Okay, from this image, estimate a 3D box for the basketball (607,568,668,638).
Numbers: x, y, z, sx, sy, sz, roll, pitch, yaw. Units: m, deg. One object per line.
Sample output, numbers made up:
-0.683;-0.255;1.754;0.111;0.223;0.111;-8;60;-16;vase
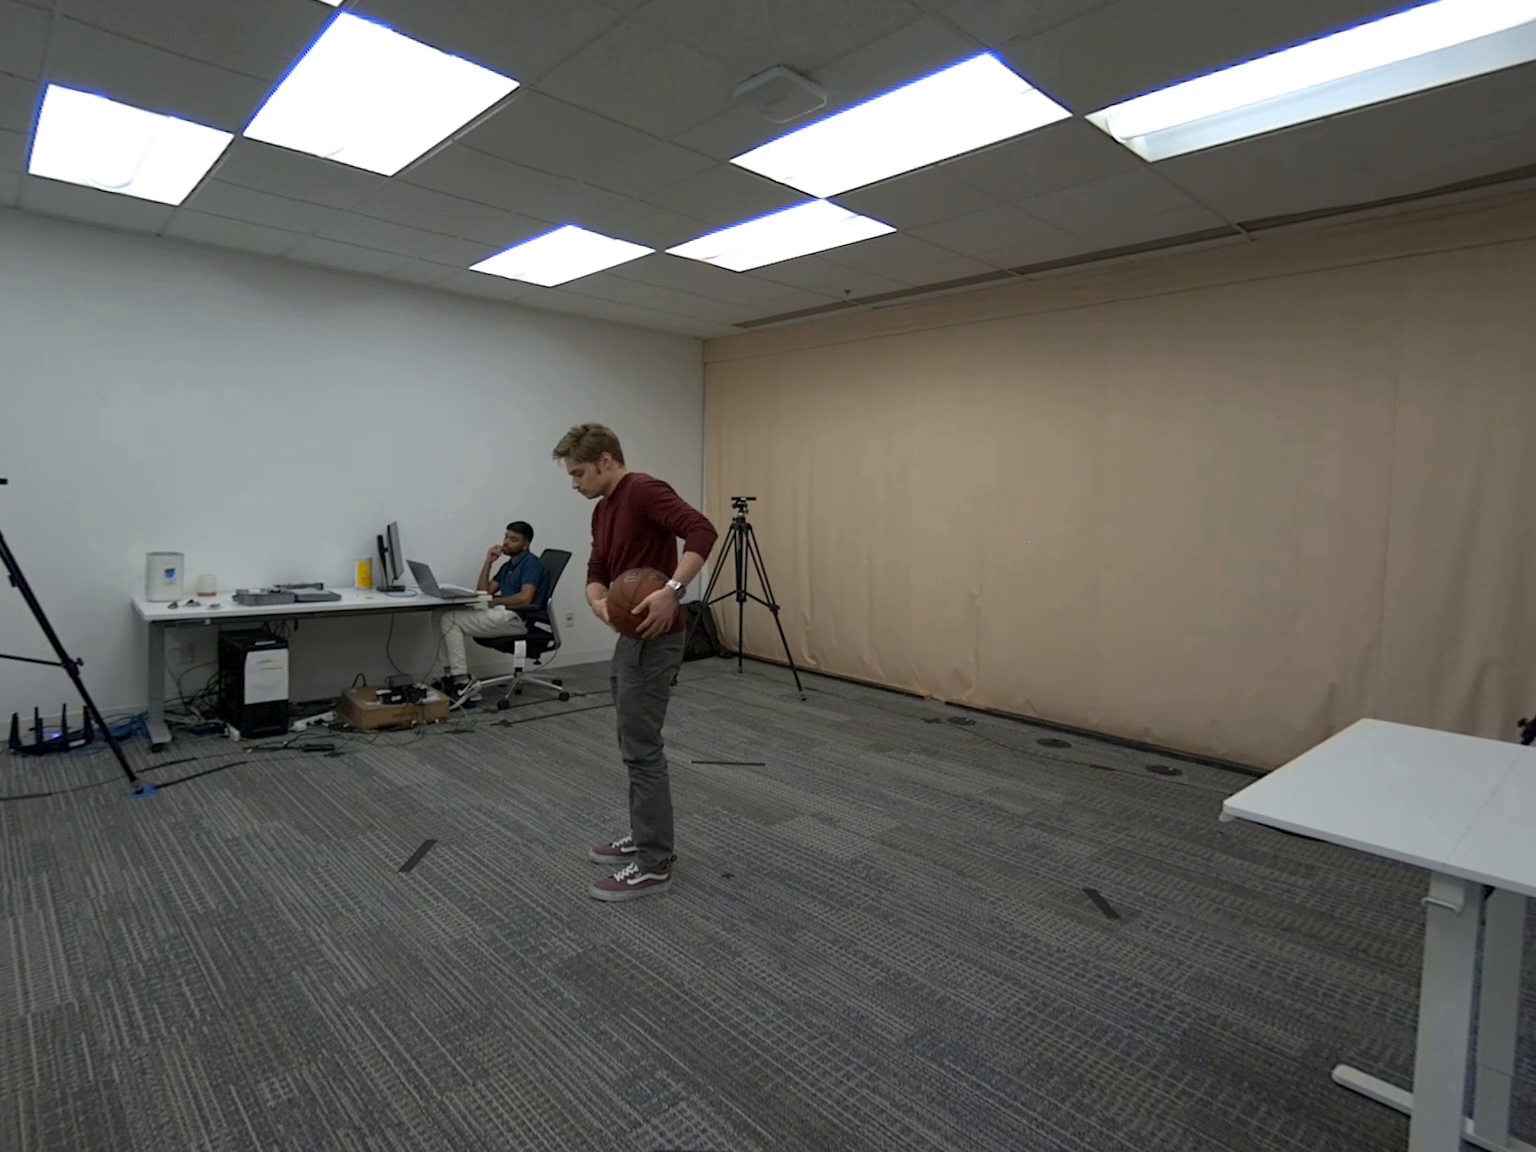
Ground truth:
-0.441;0.104;2.791;0.236;0.235;0.237;1;4;-1;basketball
